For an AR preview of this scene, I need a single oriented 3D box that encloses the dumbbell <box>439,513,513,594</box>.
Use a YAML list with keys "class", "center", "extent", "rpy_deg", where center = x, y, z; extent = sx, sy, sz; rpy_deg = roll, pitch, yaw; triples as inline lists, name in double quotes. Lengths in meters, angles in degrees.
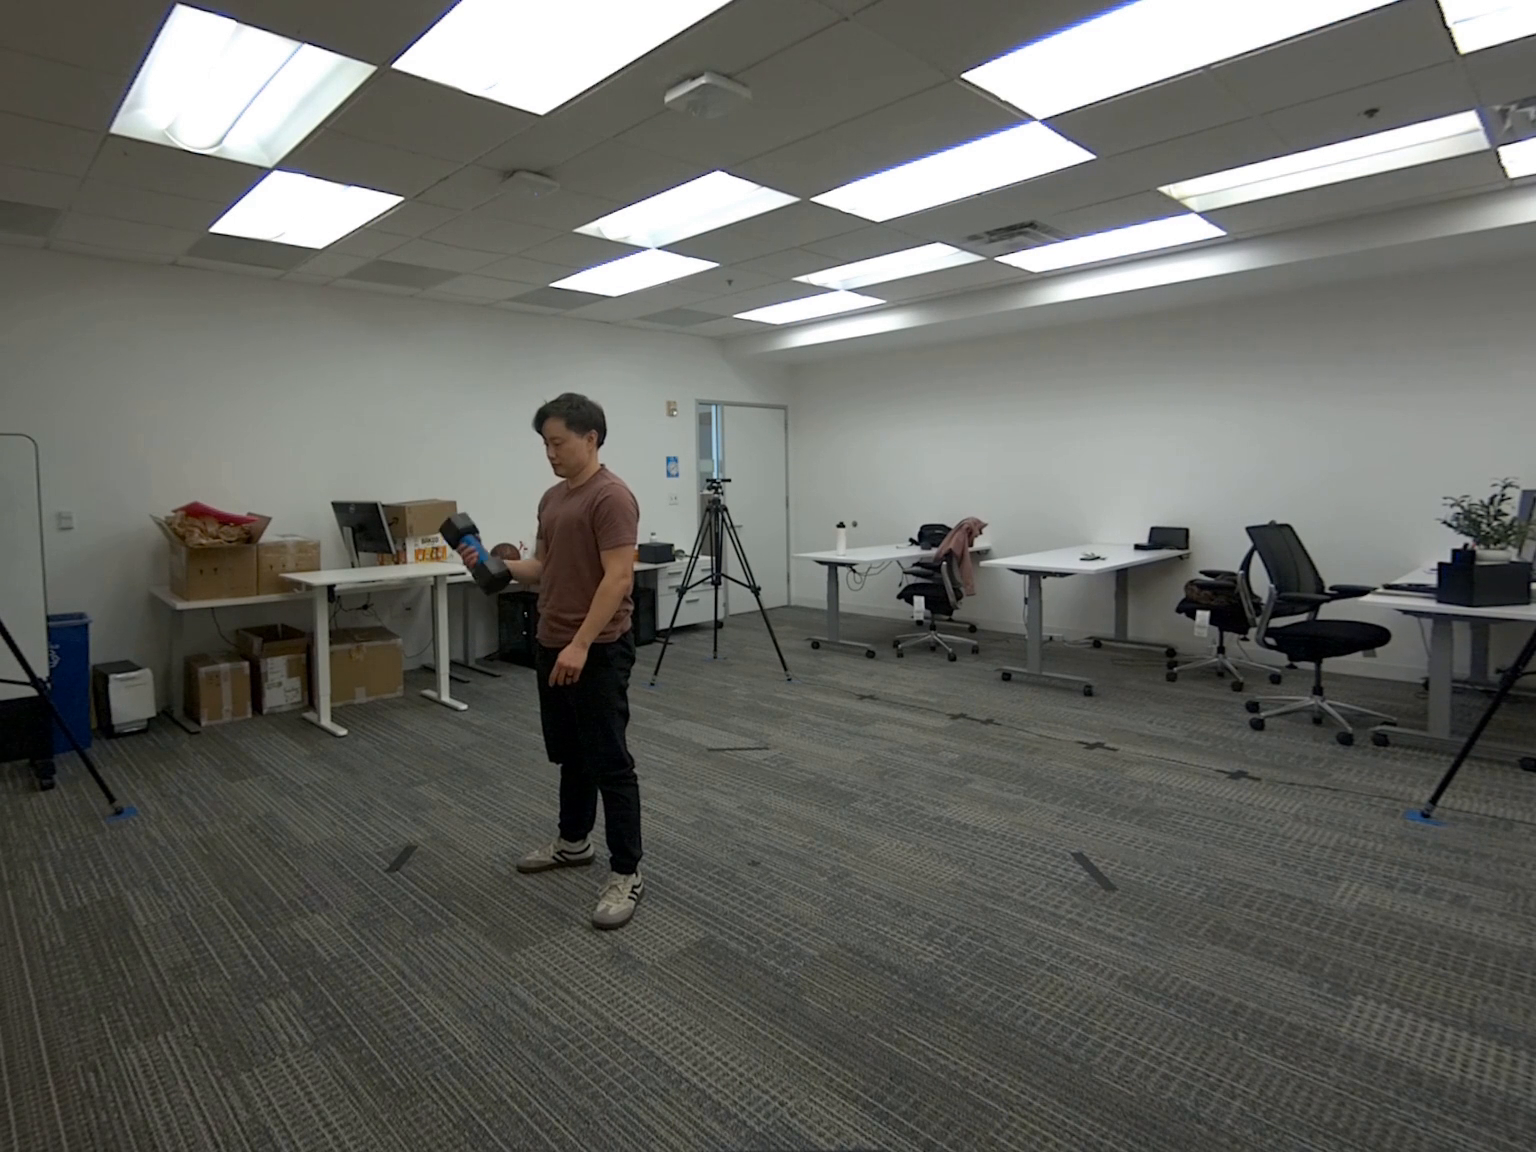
- class: "dumbbell"
  center: [-0.951, -0.073, 2.813]
  extent: [0.302, 0.123, 0.105]
  rpy_deg: [48, 12, 23]
